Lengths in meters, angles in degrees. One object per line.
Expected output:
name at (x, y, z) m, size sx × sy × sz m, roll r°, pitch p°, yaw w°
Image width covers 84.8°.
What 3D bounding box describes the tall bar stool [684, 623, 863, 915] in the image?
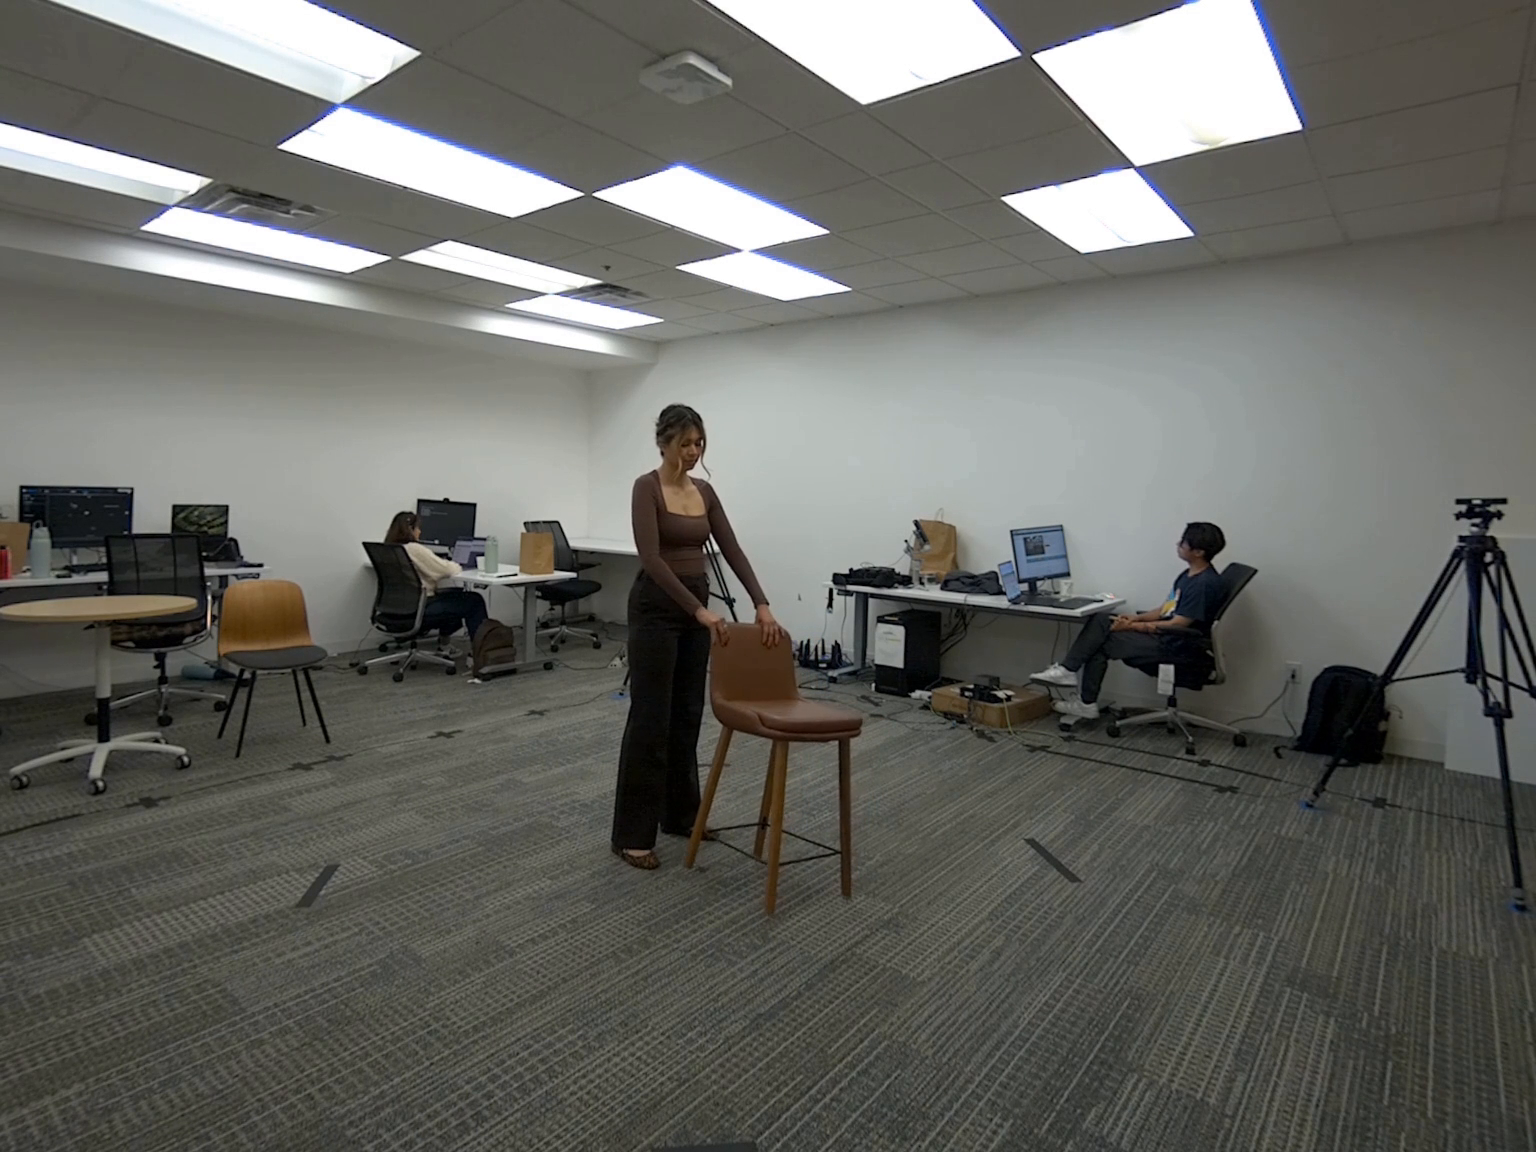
tall bar stool at (0.027, 0.629, 2.981) m, size 0.440 × 0.893 × 0.483 m, roll 9°, pitch -5°, yaw -43°
